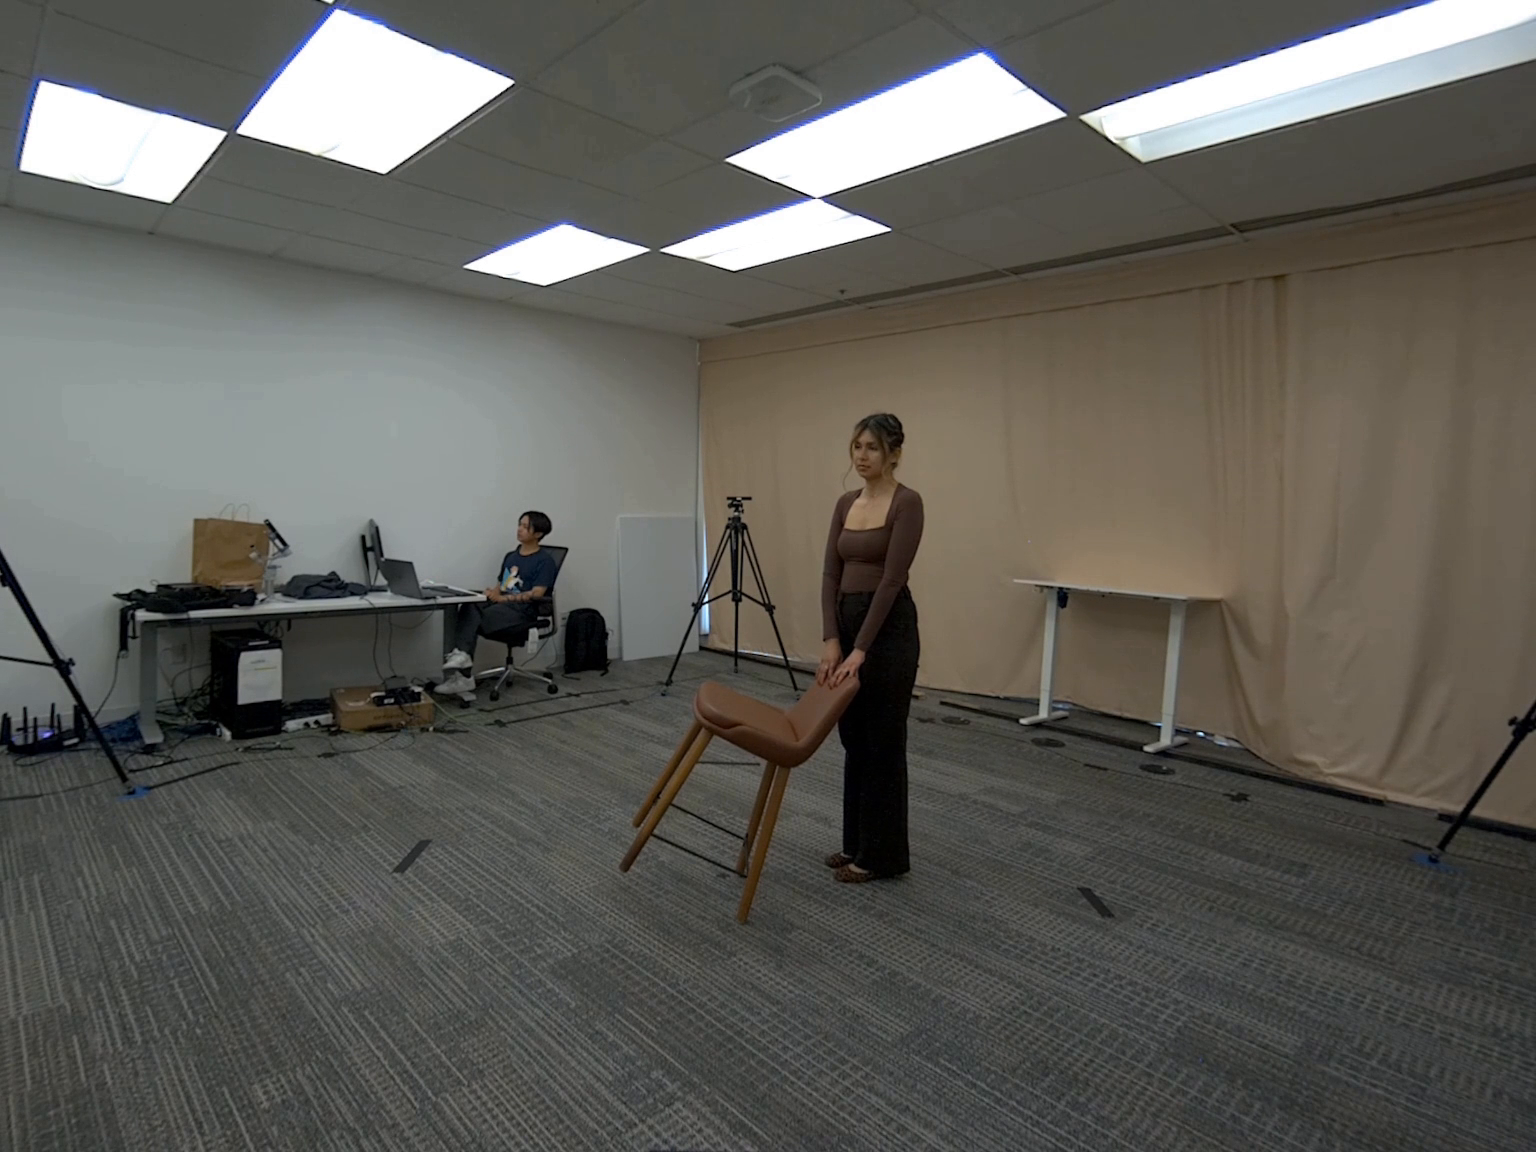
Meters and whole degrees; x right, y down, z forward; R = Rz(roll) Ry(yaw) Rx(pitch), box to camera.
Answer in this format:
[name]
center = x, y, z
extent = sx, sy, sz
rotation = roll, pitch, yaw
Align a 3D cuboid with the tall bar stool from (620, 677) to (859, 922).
[tall bar stool]
center = -0.100, 0.643, 2.904
extent = 0.467, 0.889, 0.458
rotation = 27, 3, -2
